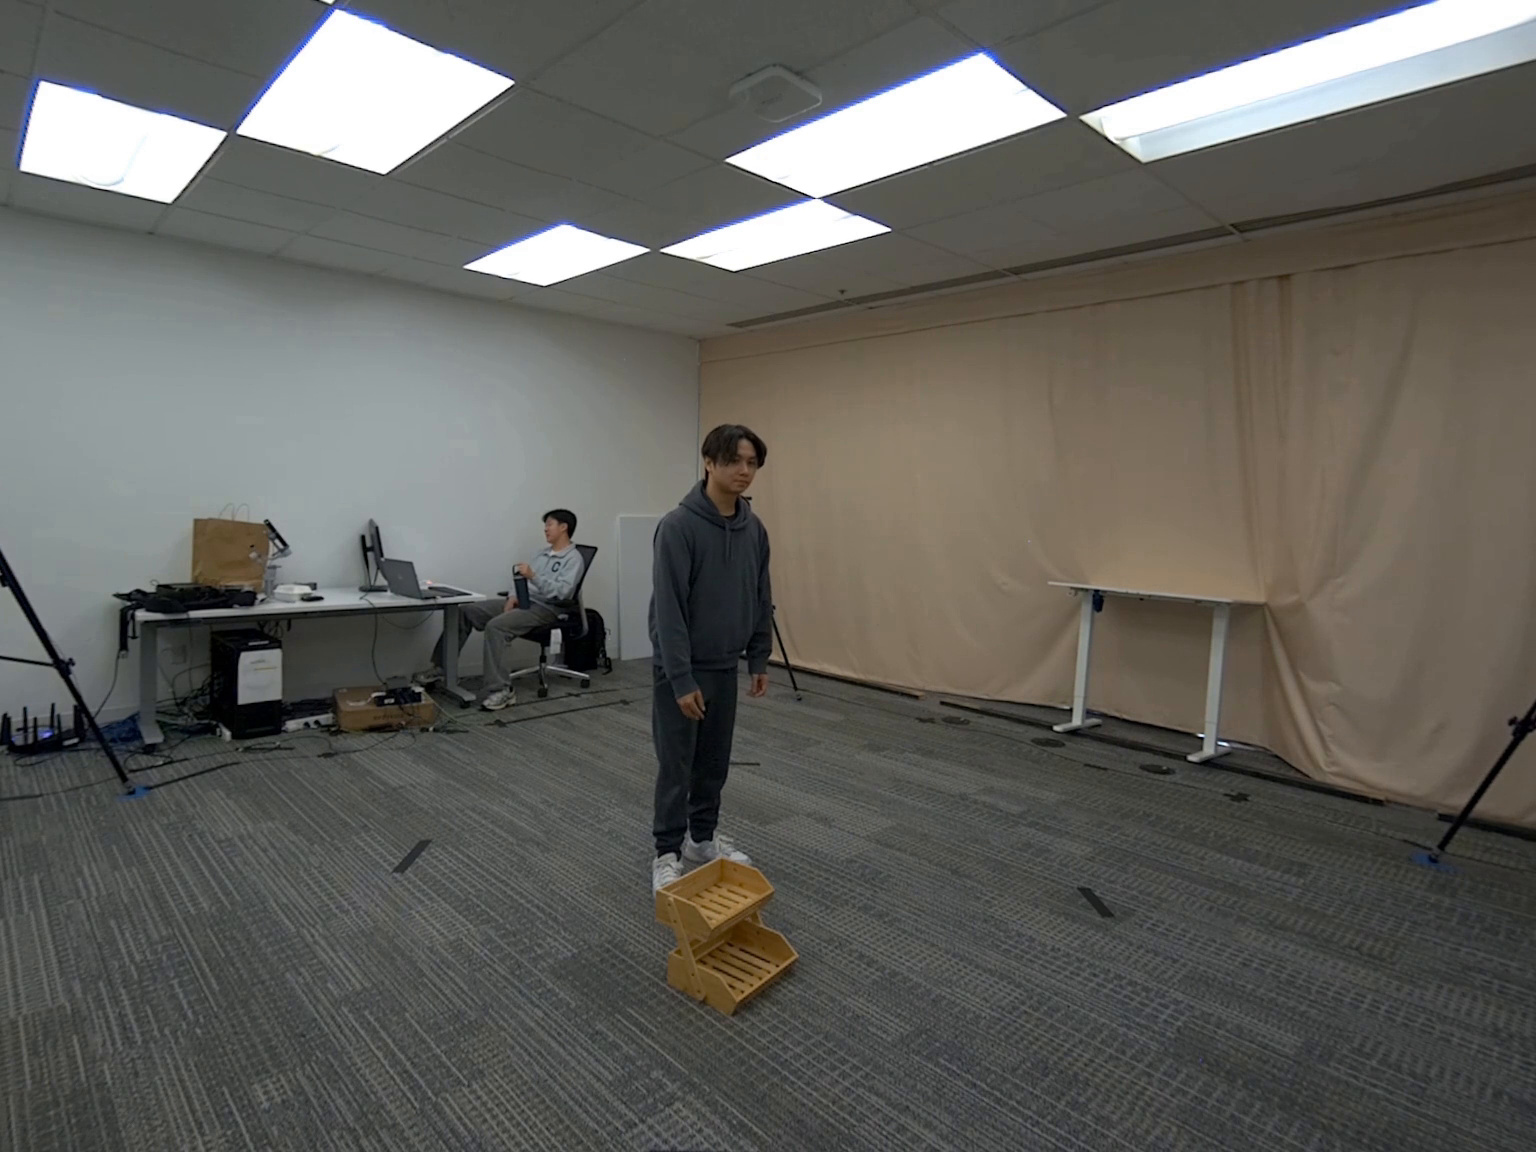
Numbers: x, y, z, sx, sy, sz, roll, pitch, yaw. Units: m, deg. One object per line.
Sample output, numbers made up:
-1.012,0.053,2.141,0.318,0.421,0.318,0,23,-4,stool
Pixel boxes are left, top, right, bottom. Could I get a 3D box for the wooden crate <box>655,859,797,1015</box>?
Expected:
-0.116,1.038,2.447,0.309,0.272,0.317,4,5,36,wooden crate
